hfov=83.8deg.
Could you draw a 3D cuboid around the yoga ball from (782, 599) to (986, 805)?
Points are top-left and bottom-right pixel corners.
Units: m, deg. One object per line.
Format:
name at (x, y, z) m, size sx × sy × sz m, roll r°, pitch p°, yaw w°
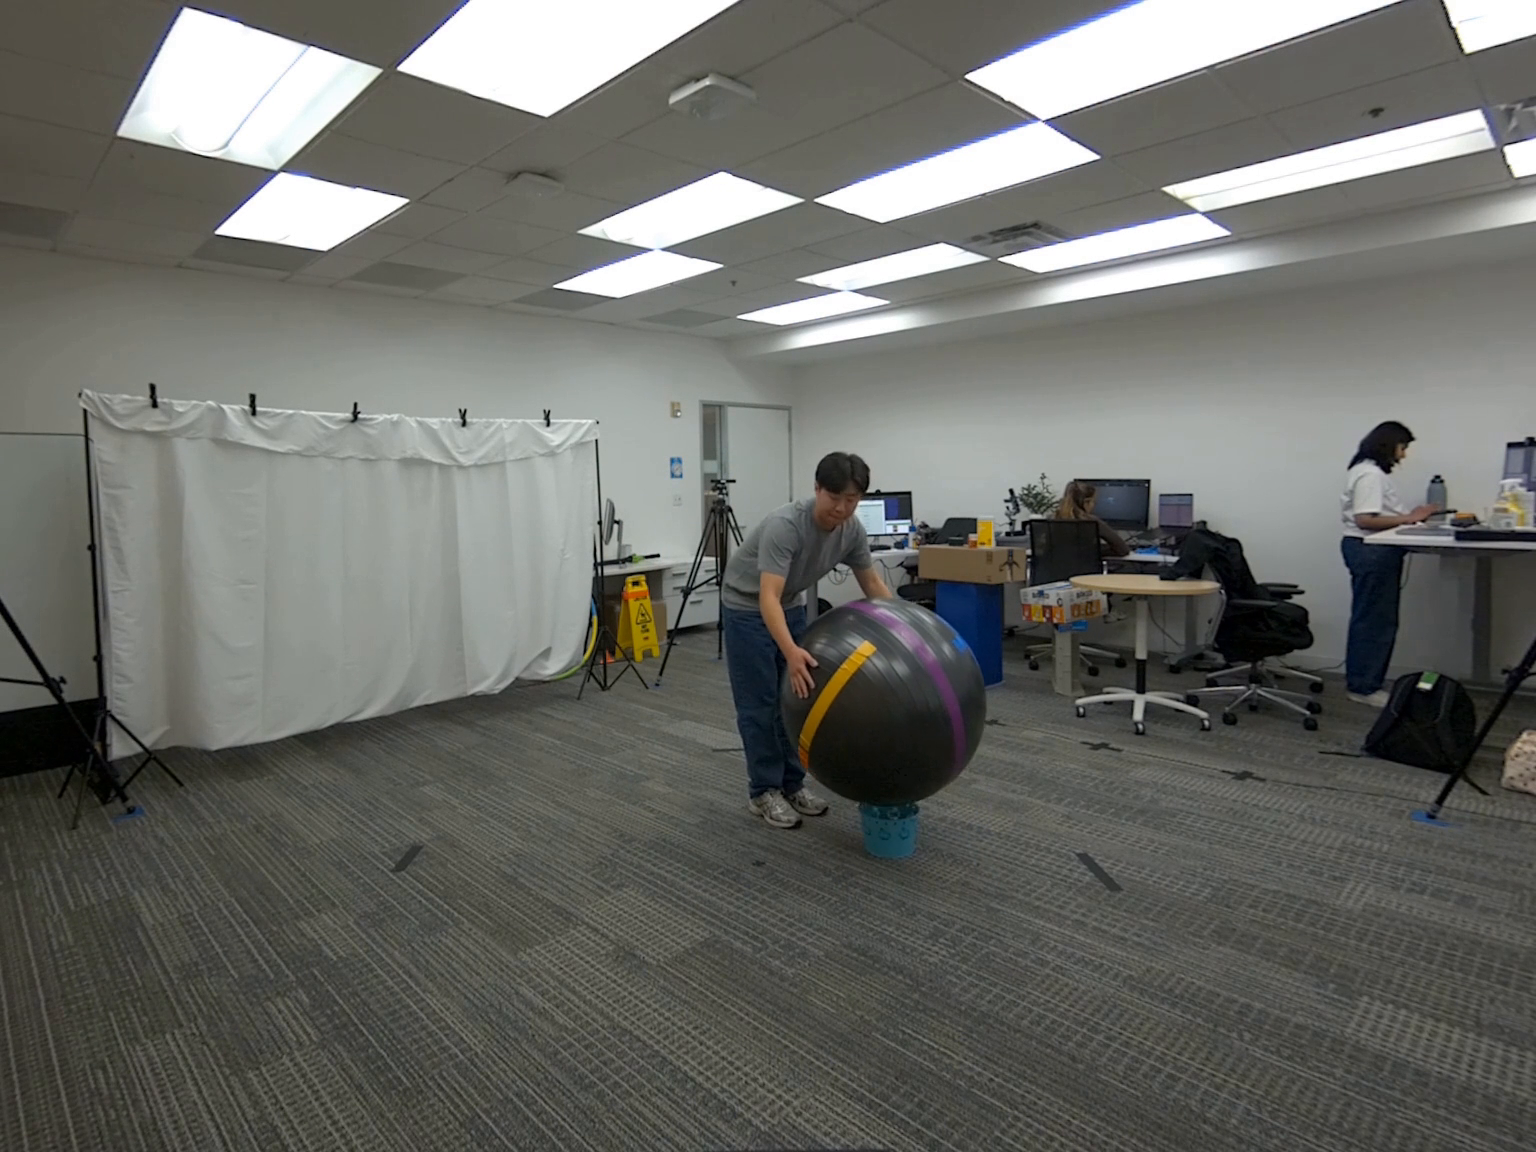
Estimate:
yoga ball at (0.414, 0.461, 3.179) m, size 0.757 × 0.755 × 0.762 m, roll -1°, pitch 5°, yaw -2°
